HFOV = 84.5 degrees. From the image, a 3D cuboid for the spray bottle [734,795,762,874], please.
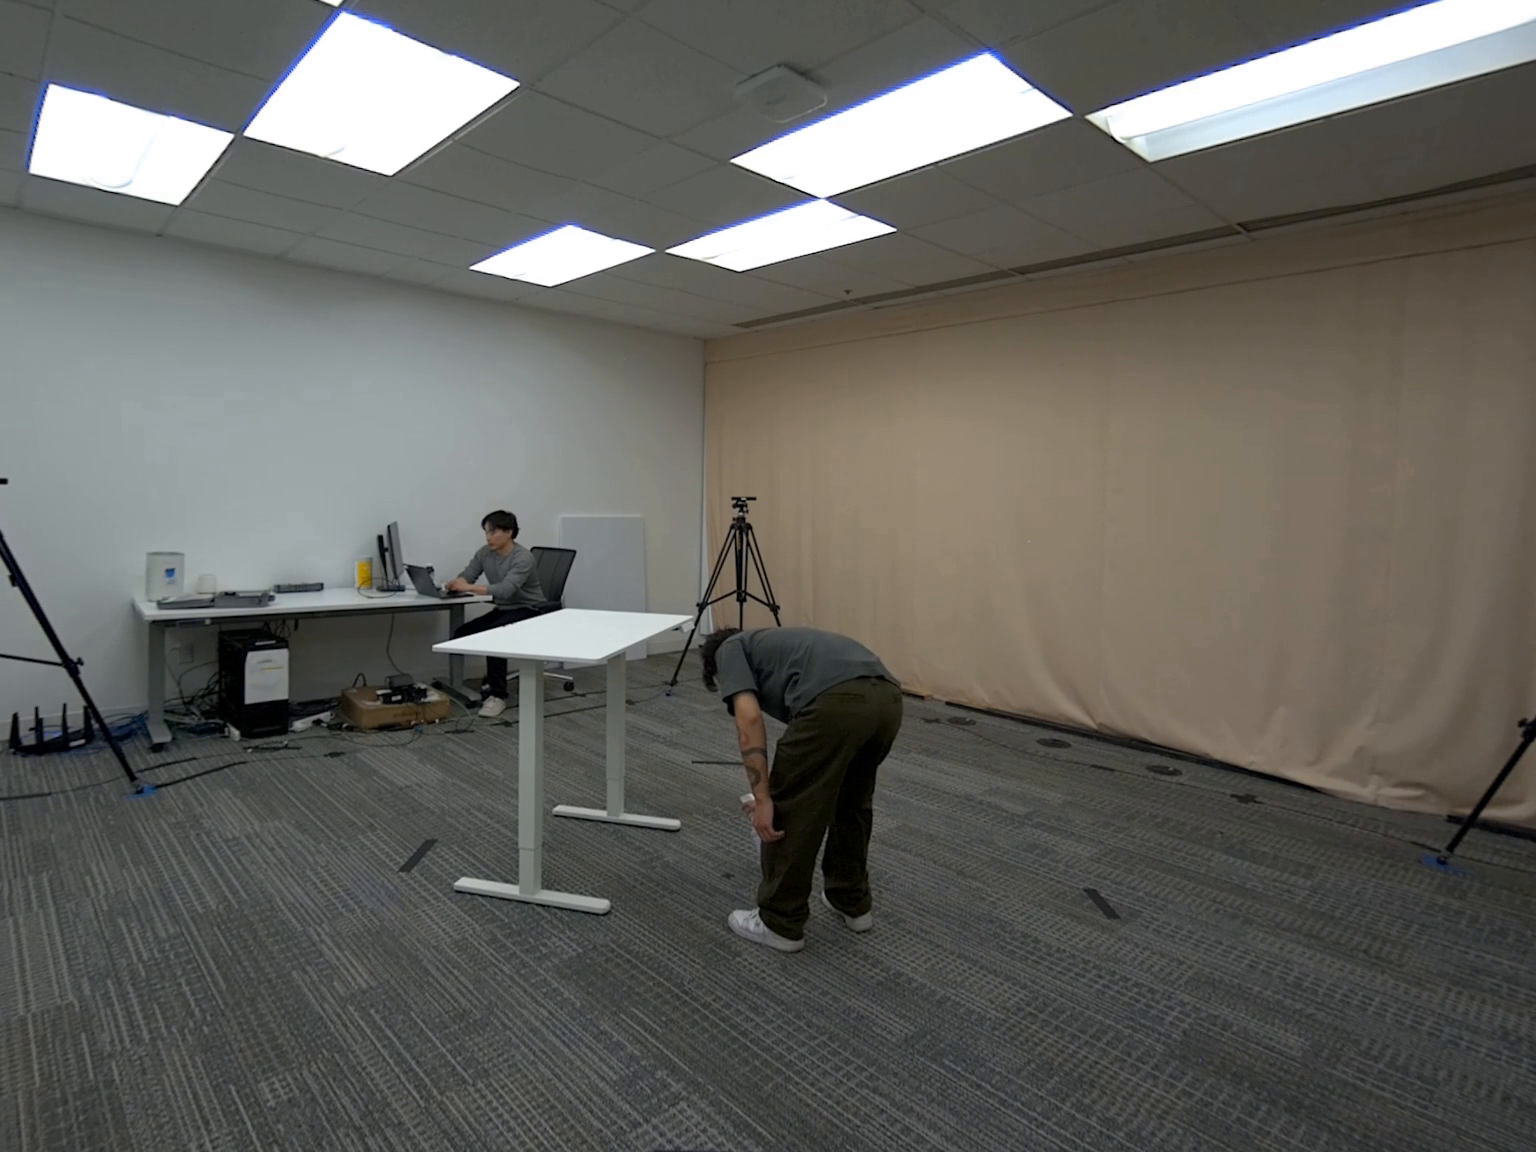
[{"bbox_3d":[-0.028,0.966,3.145,0.086,0.302,0.089,-20,-17,-10],"label":"spray bottle"}]
